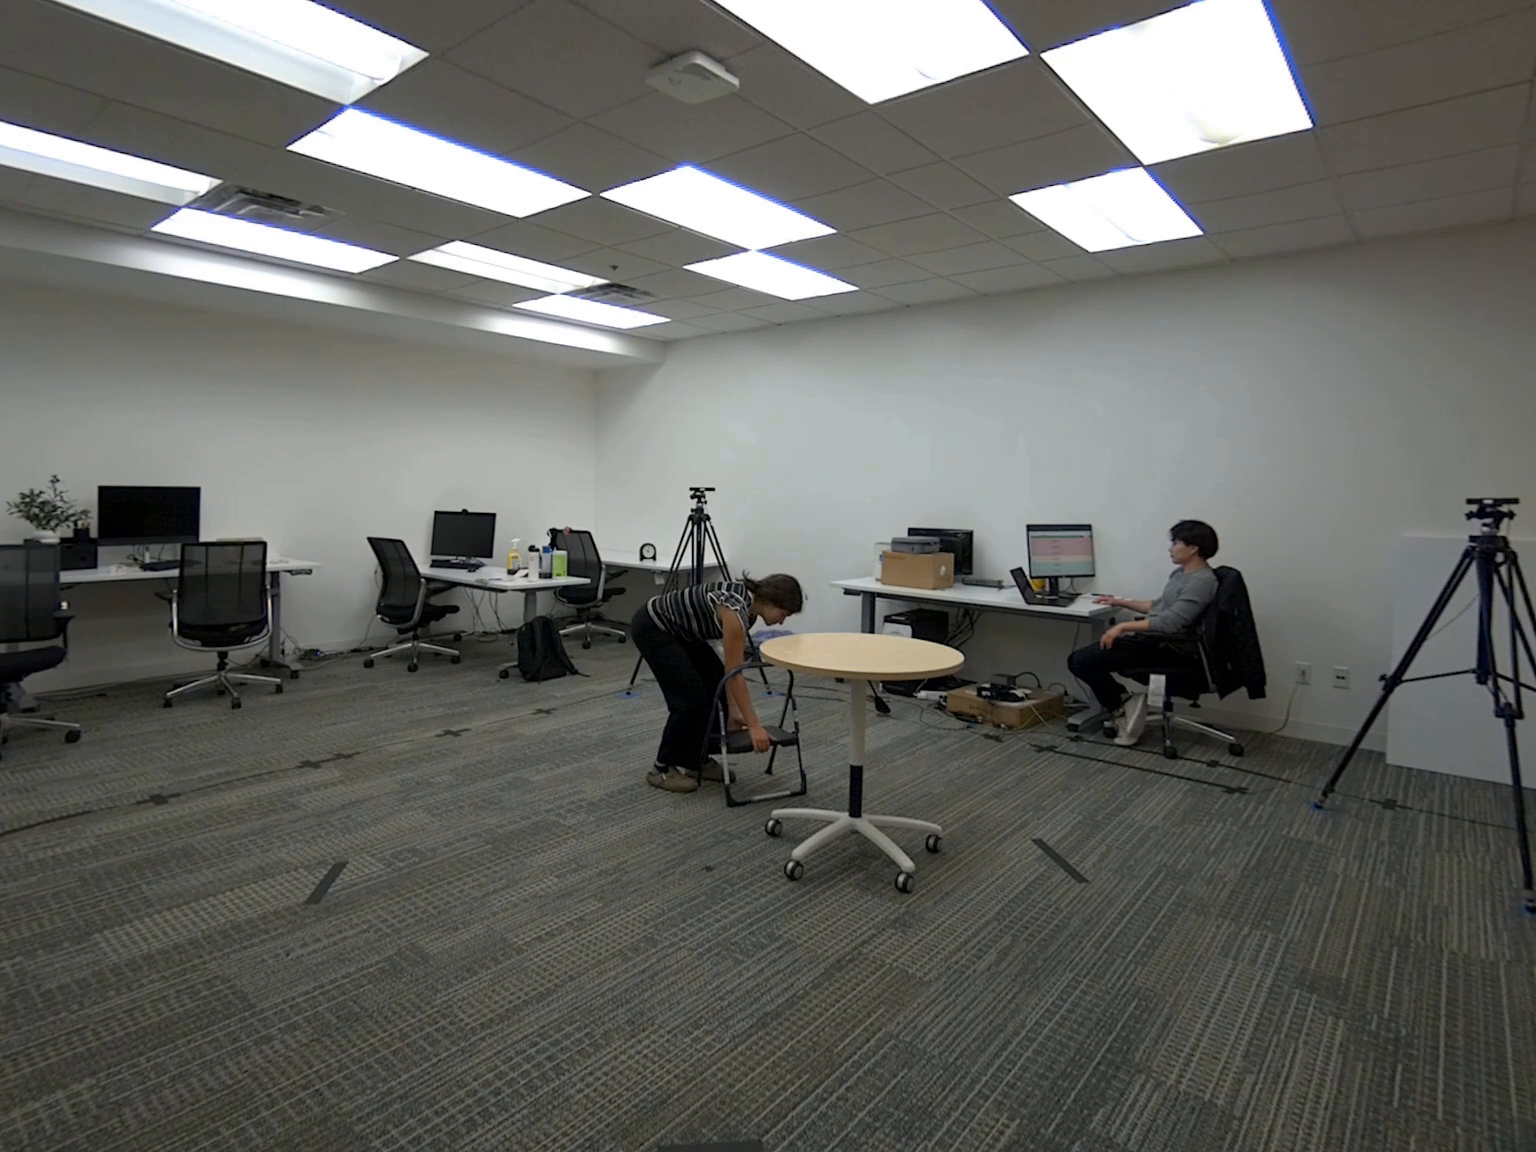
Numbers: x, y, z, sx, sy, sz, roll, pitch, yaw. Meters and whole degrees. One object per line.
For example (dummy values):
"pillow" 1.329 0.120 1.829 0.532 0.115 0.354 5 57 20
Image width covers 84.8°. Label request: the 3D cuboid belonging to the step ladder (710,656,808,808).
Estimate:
"step ladder" -0.080 0.686 3.936 0.419 0.605 0.360 0 3 -30
